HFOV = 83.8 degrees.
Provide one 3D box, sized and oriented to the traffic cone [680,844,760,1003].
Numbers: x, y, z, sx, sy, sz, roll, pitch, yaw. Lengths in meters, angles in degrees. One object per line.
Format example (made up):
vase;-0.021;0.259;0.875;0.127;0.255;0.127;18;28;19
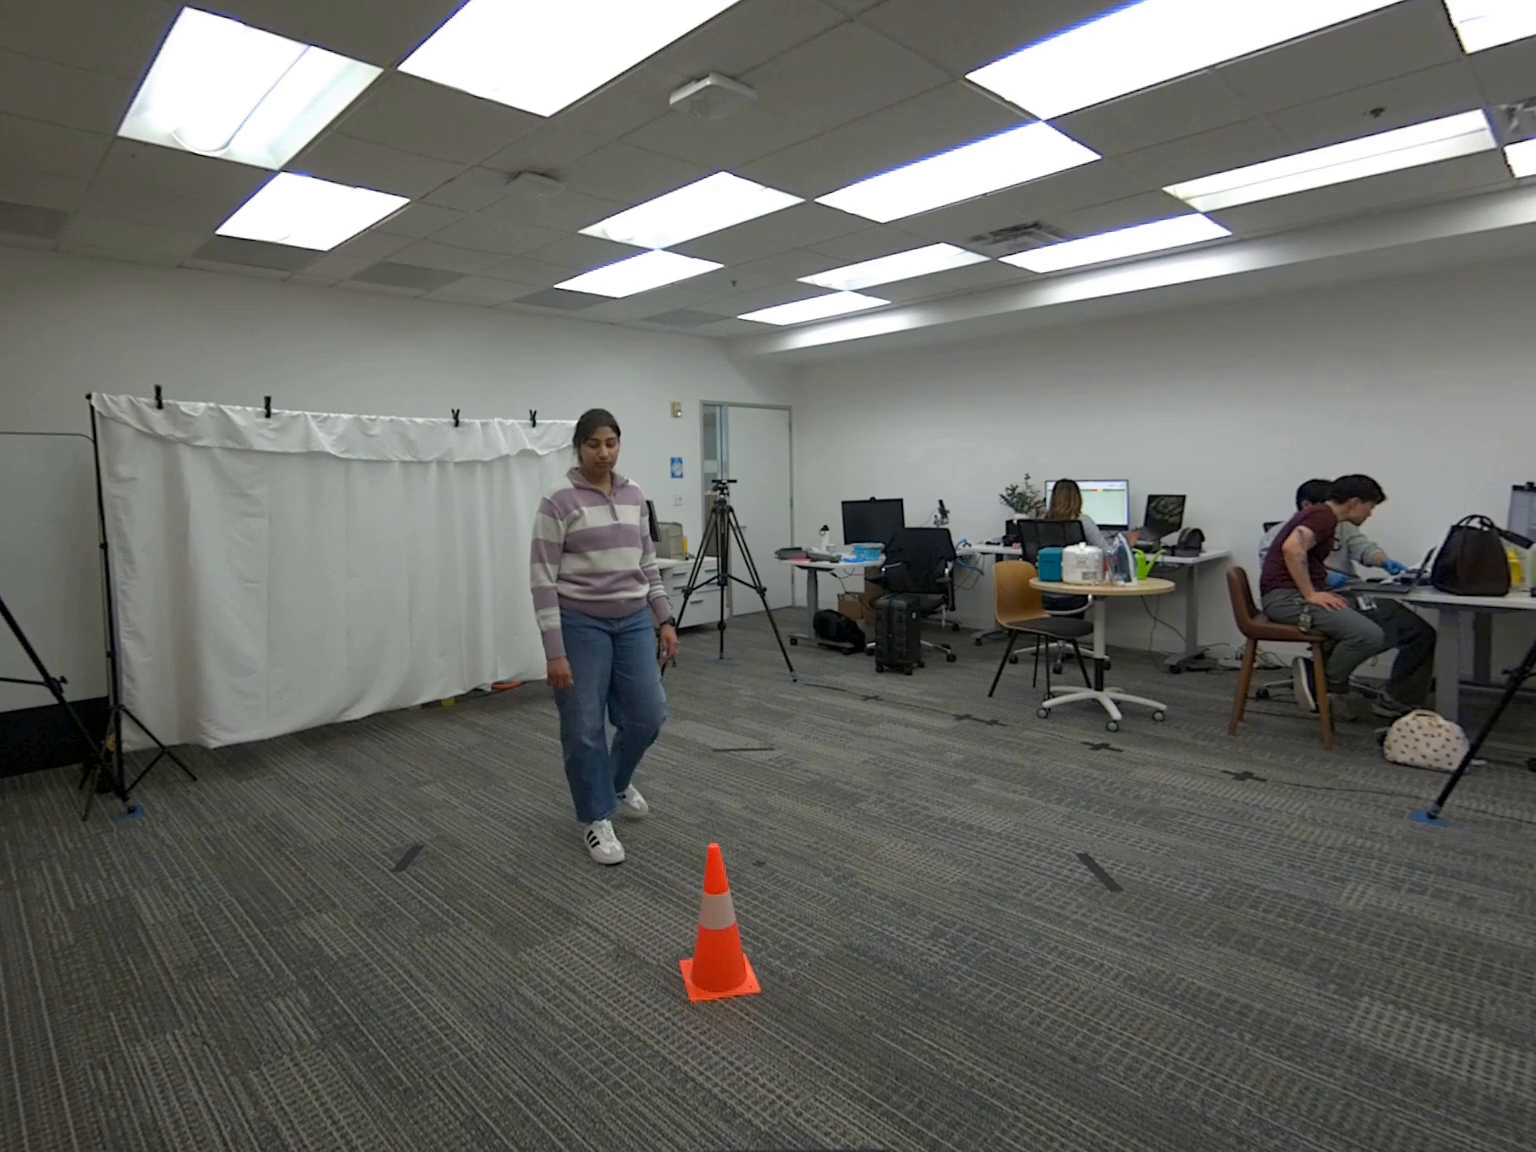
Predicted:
traffic cone;-0.143;0.948;2.392;0.202;0.382;0.207;-5;5;-14
